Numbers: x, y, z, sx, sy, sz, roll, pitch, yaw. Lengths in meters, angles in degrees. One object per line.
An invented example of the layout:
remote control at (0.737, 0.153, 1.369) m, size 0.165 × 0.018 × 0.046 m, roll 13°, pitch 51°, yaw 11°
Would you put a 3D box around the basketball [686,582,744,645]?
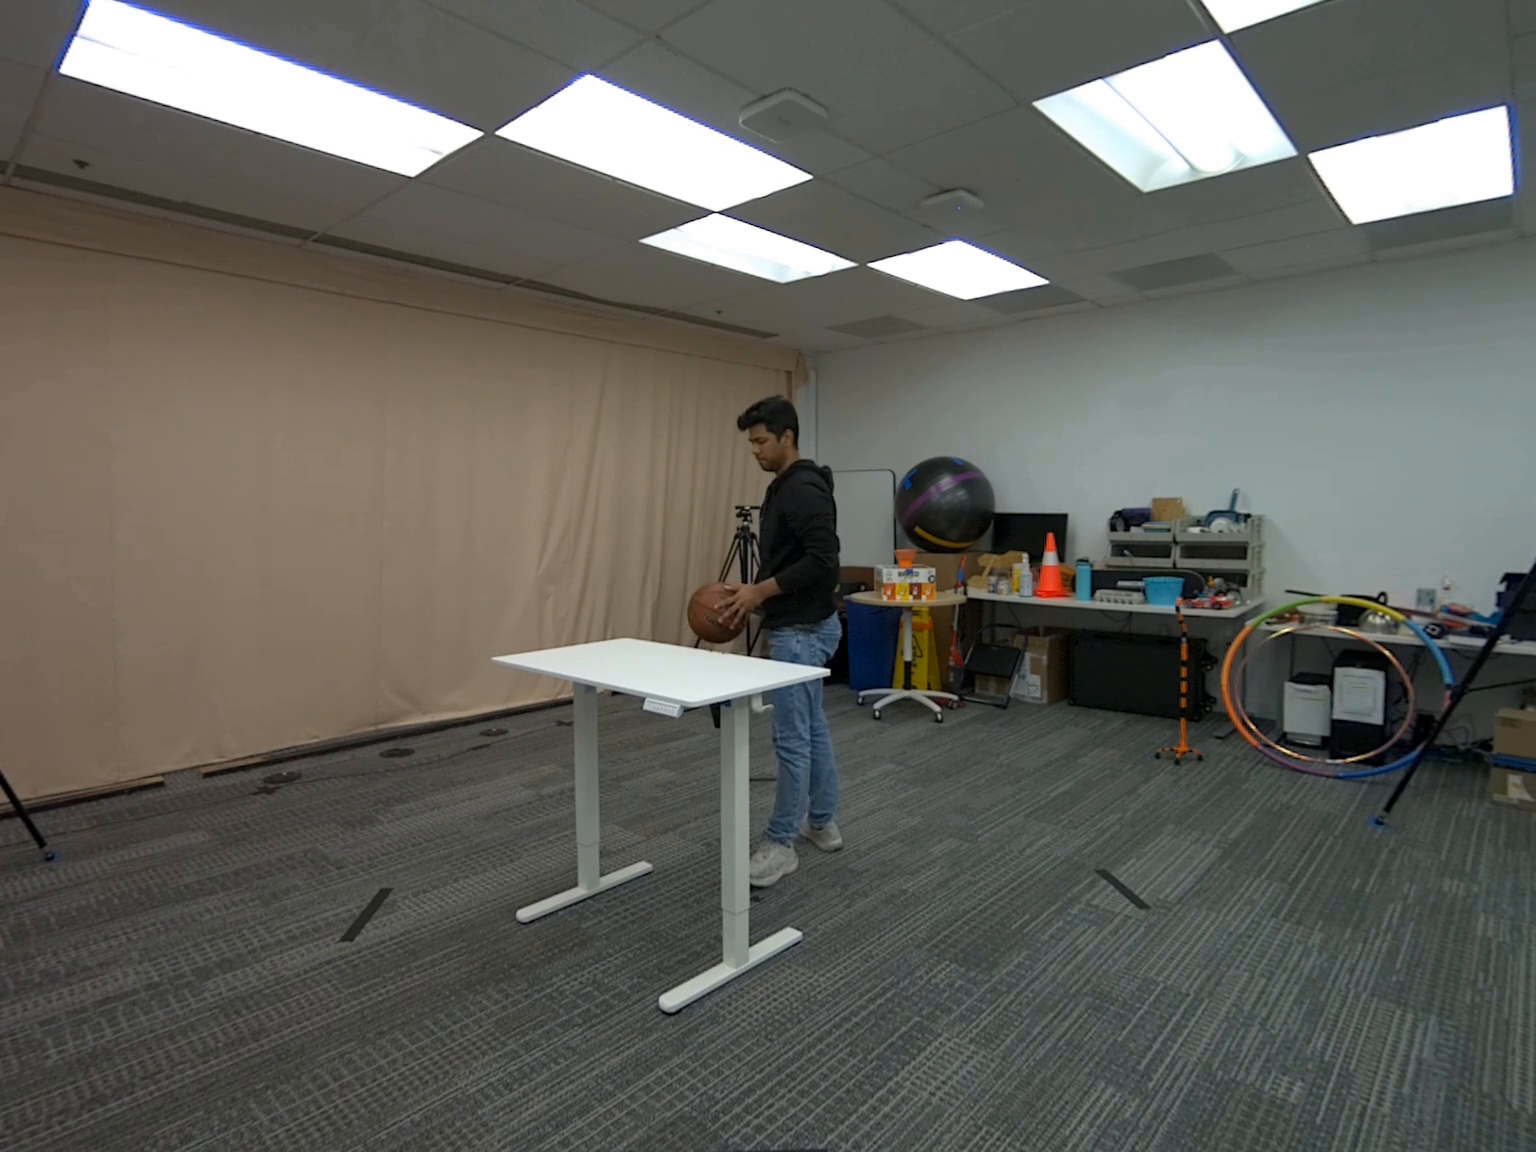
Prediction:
basketball at (-0.184, 0.147, 3.240) m, size 0.236 × 0.235 × 0.237 m, roll 0°, pitch 4°, yaw -2°
